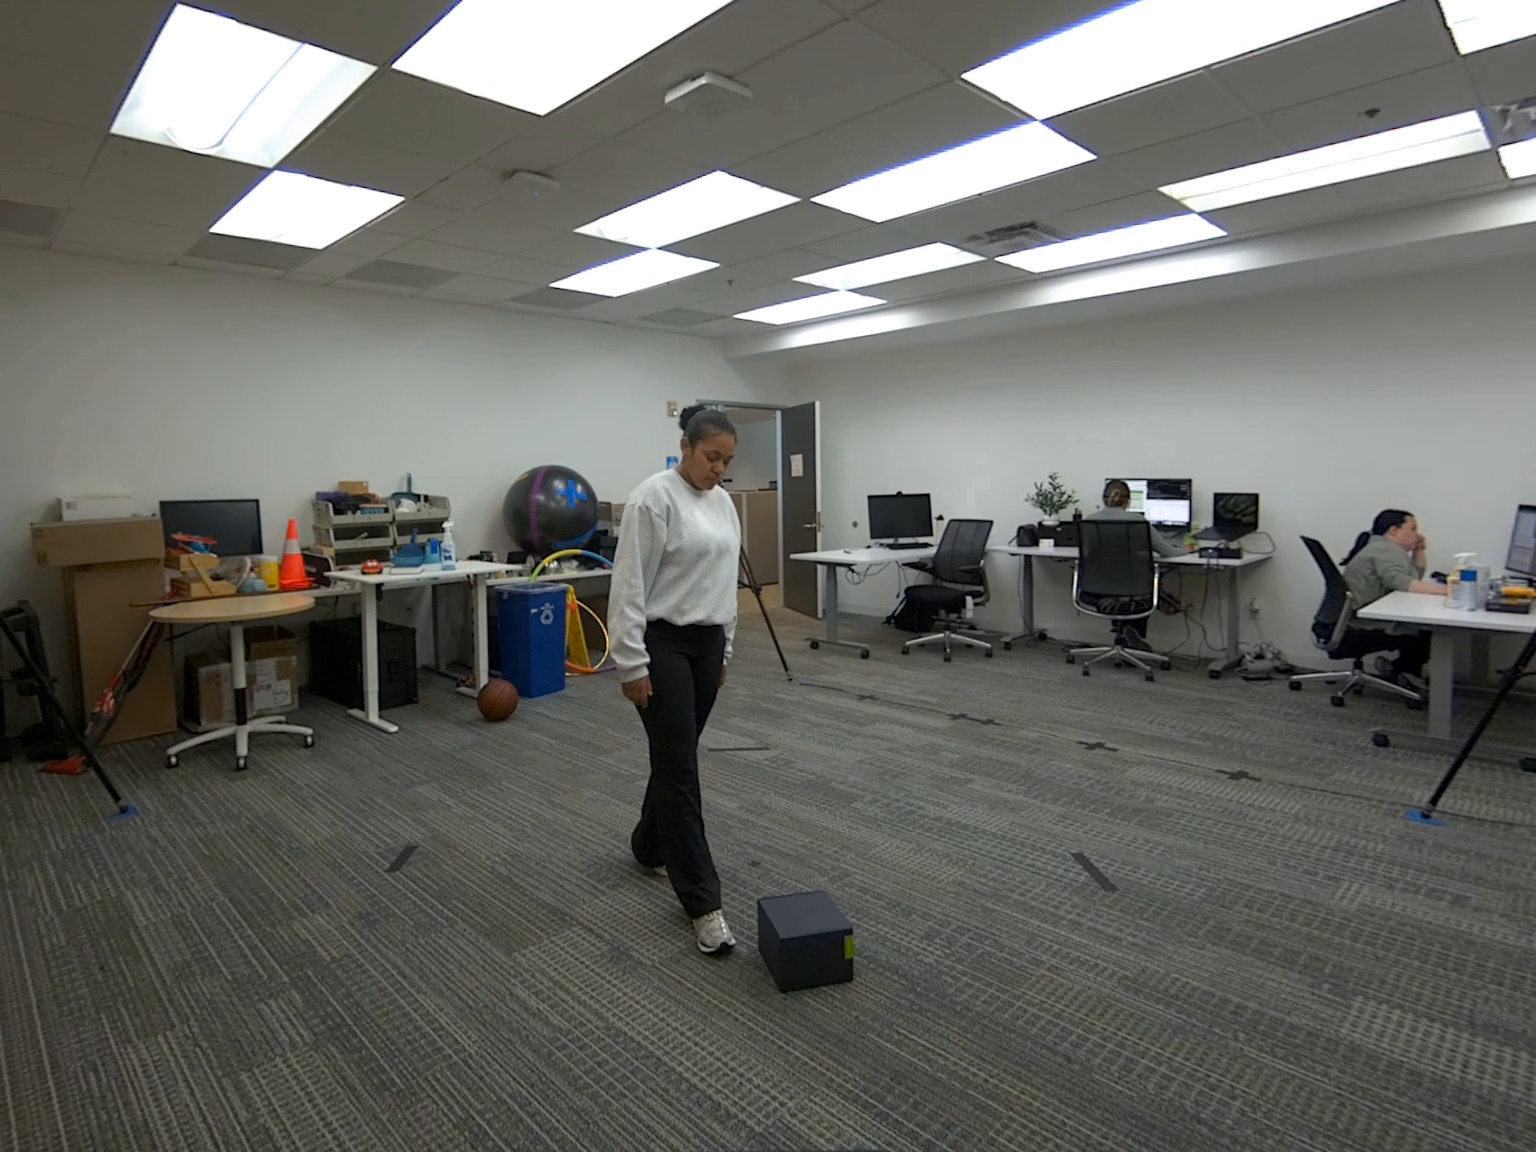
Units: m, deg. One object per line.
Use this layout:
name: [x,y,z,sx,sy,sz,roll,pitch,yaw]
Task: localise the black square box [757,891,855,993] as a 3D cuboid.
black square box: [0.109,1.035,2.445,0.214,0.155,0.232,-2,5,-16]
